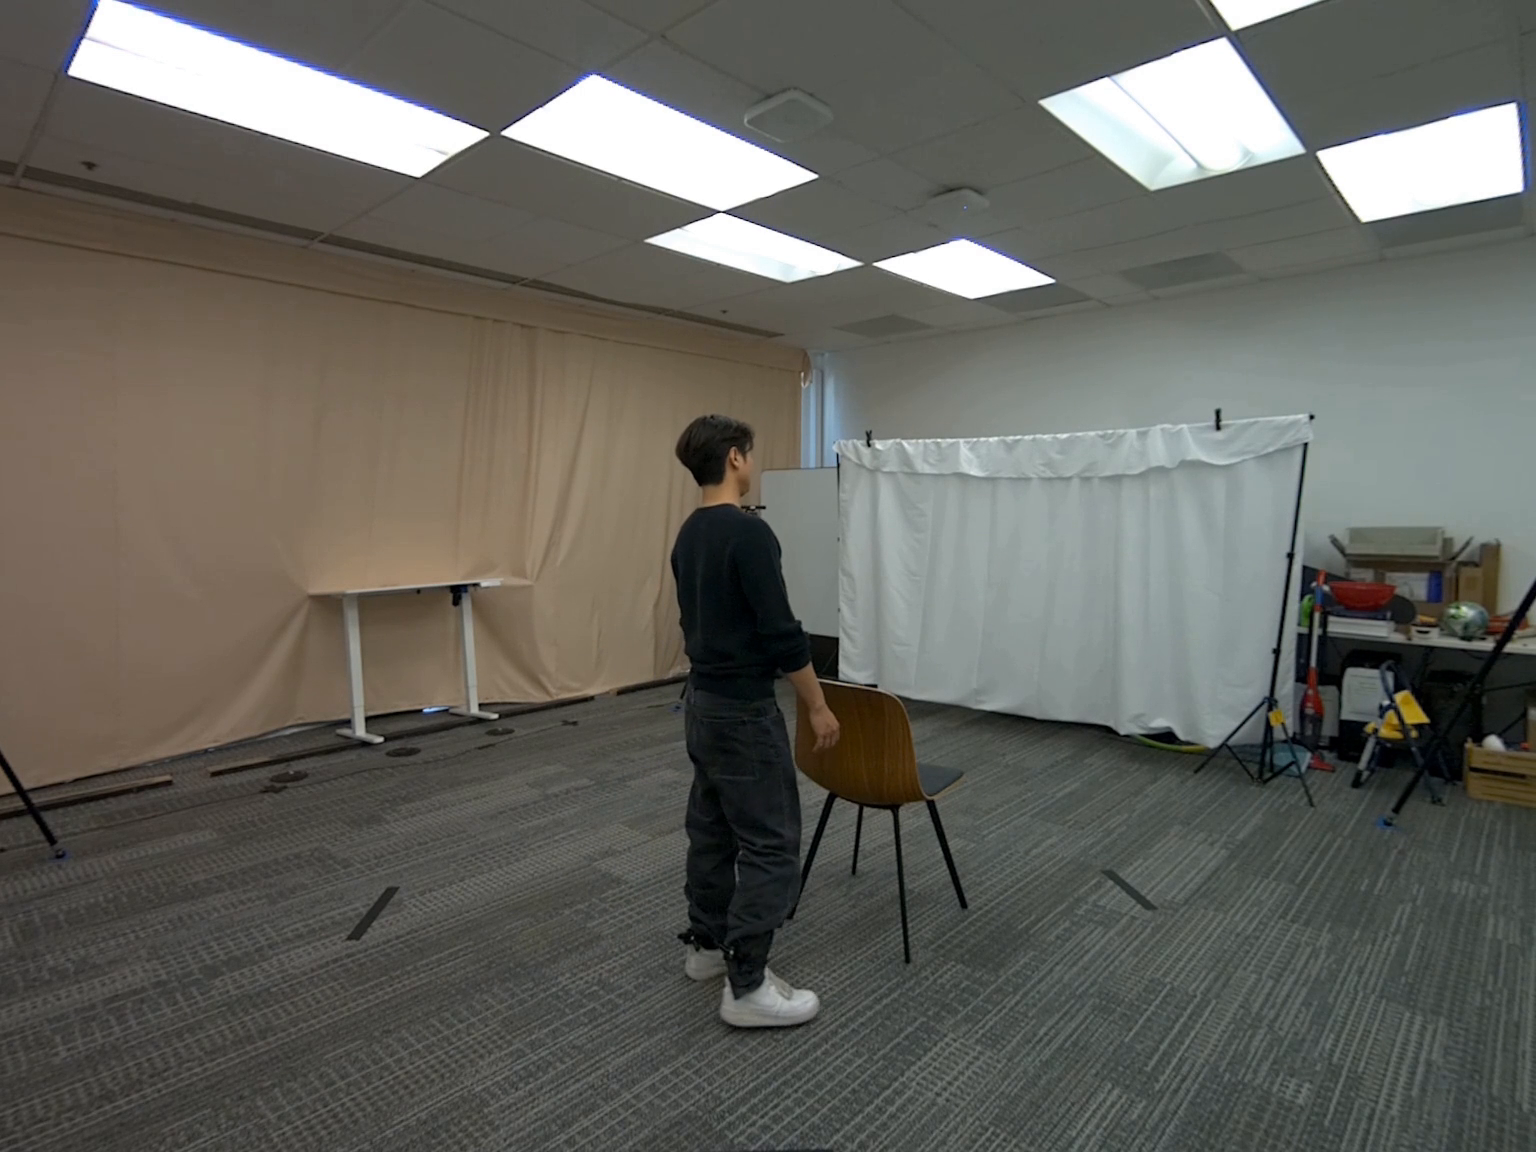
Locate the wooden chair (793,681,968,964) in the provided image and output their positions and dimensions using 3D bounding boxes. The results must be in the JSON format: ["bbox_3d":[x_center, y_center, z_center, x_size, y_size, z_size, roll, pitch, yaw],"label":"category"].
[{"bbox_3d":[0.381,0.724,2.846,0.493,0.873,0.509,2,8,37],"label":"wooden chair"}]
